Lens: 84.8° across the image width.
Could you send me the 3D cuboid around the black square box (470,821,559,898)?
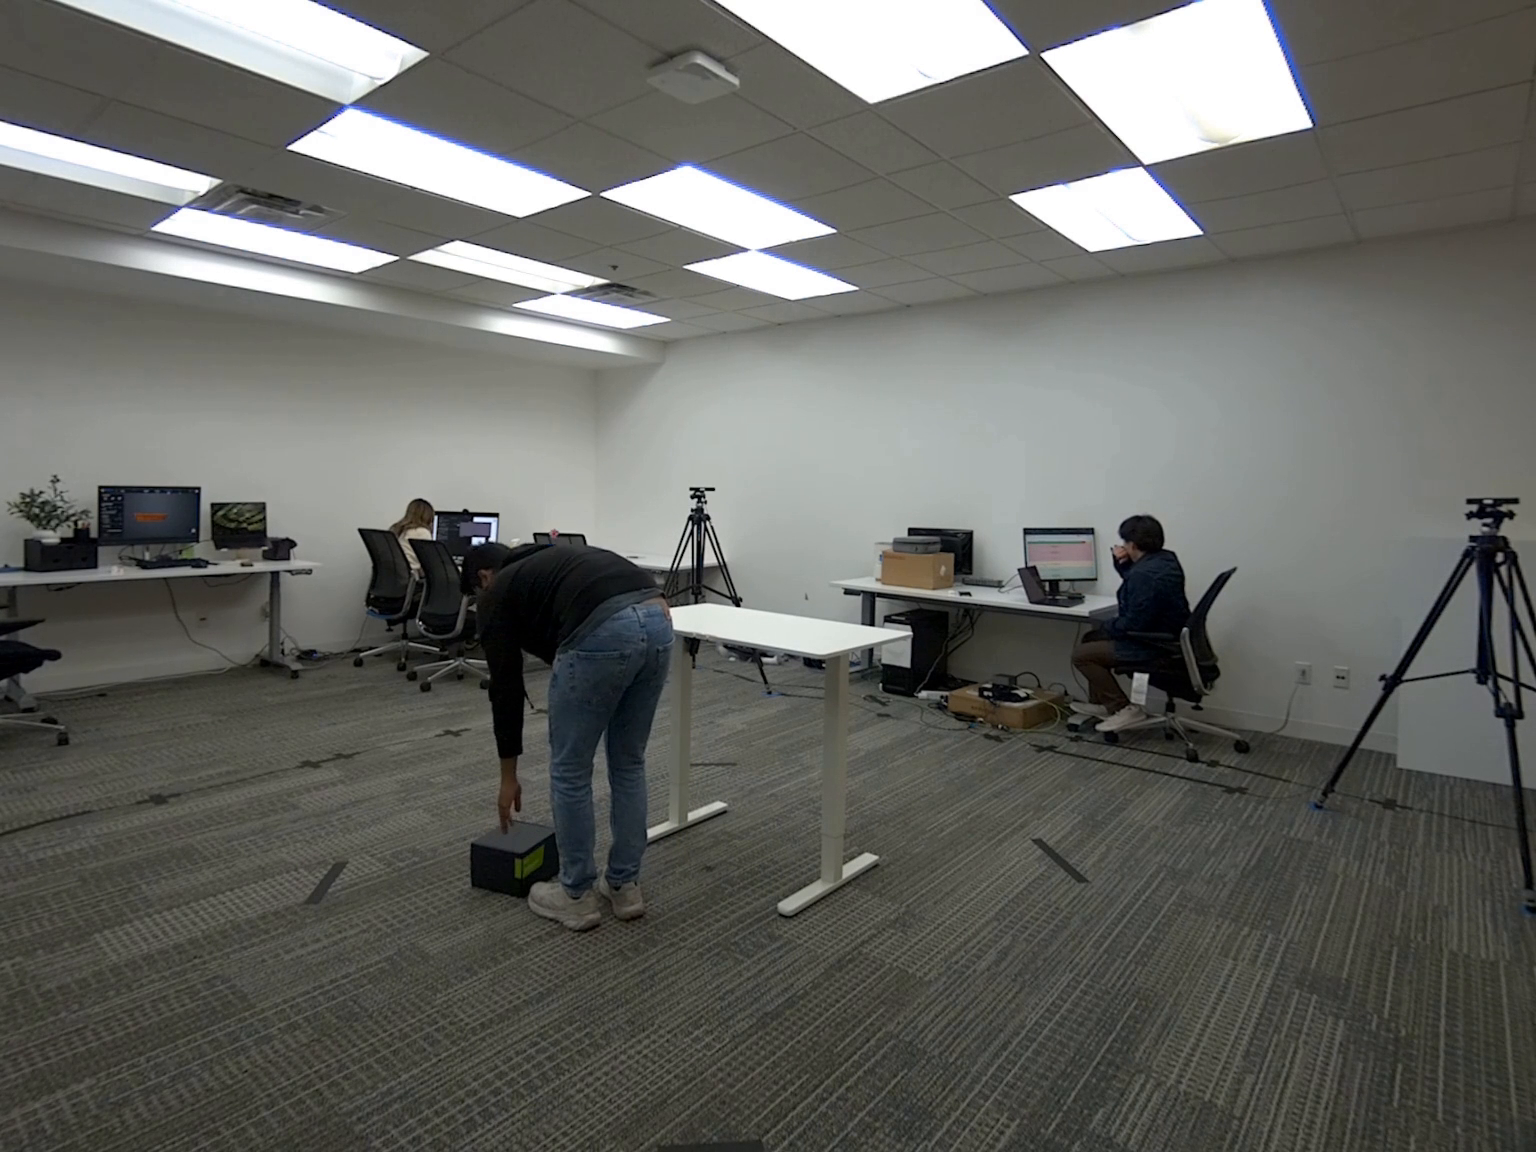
[{"bbox_3d":[-0.895,0.980,2.991,0.222,0.155,0.224,3,5,21],"label":"black square box"}]
